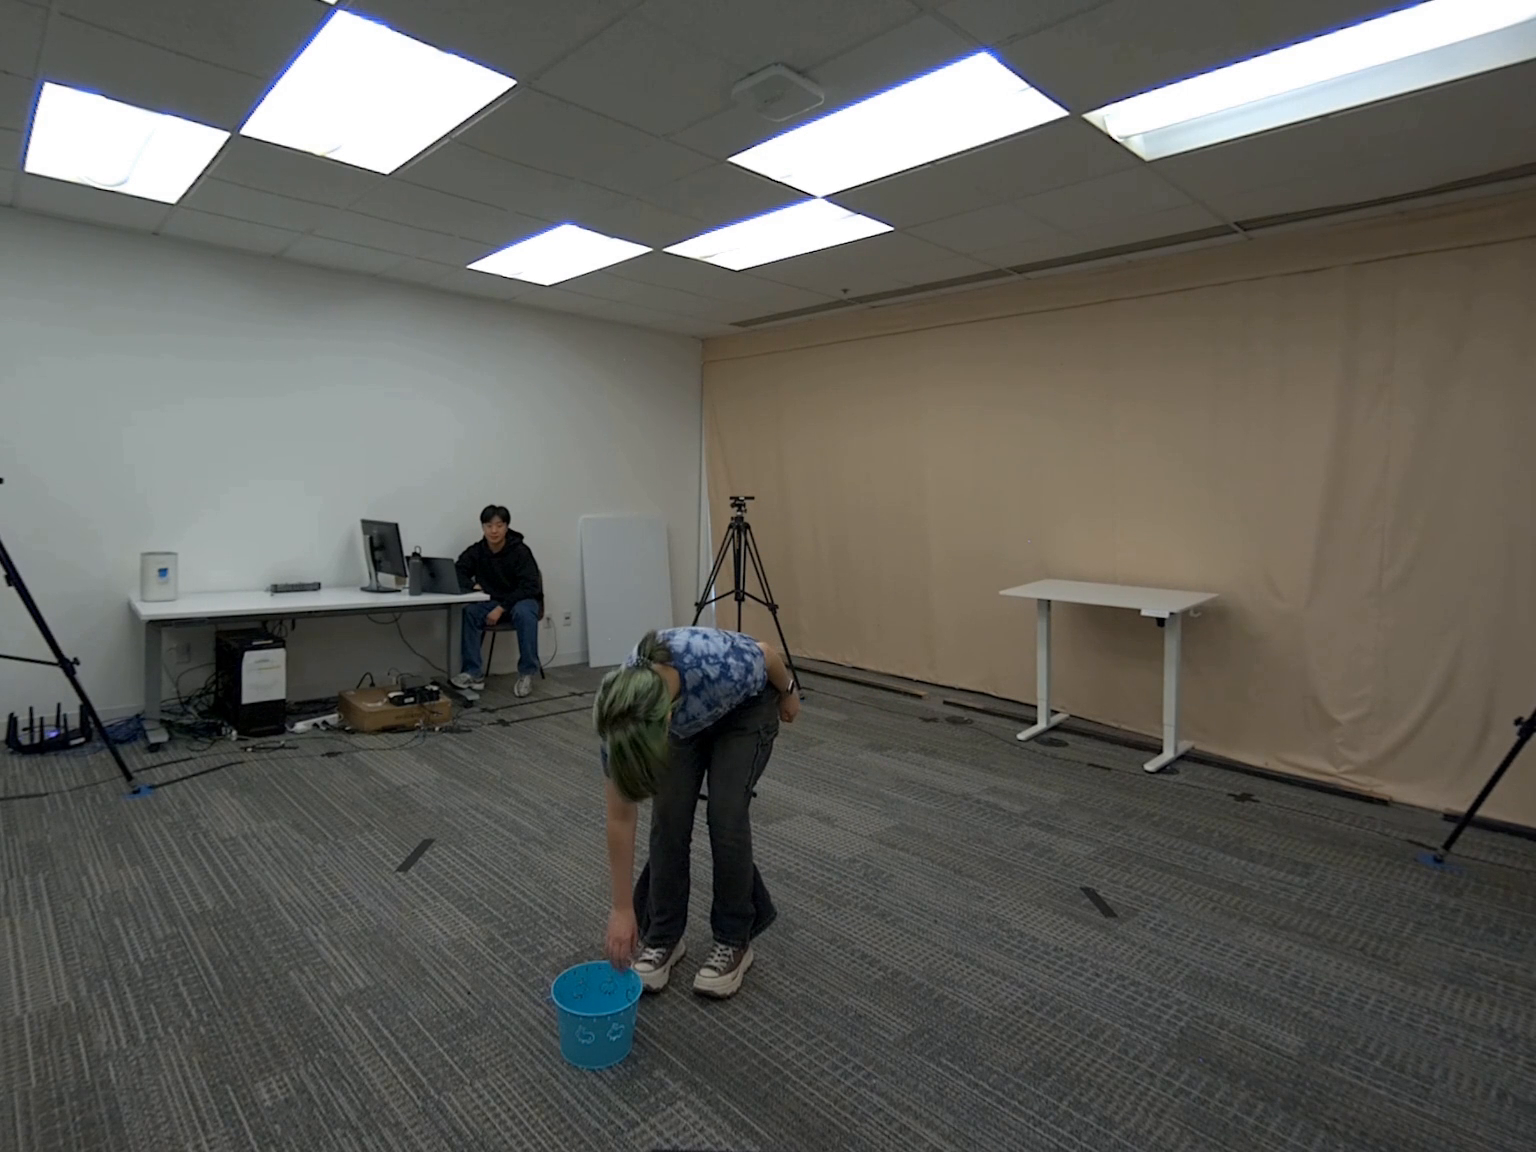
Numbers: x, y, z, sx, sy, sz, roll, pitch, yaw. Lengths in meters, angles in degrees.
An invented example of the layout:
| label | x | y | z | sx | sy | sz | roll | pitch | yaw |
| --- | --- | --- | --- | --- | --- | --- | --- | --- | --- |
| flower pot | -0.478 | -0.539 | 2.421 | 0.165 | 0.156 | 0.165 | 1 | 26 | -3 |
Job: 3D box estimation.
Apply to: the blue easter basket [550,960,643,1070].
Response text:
| label | x | y | z | sx | sy | sz | roll | pitch | yaw |
| --- | --- | --- | --- | --- | --- | --- | --- | --- | --- |
| blue easter basket | -0.435 | 1.112 | 2.121 | 0.243 | 0.155 | 0.244 | 1 | 5 | -1 |
